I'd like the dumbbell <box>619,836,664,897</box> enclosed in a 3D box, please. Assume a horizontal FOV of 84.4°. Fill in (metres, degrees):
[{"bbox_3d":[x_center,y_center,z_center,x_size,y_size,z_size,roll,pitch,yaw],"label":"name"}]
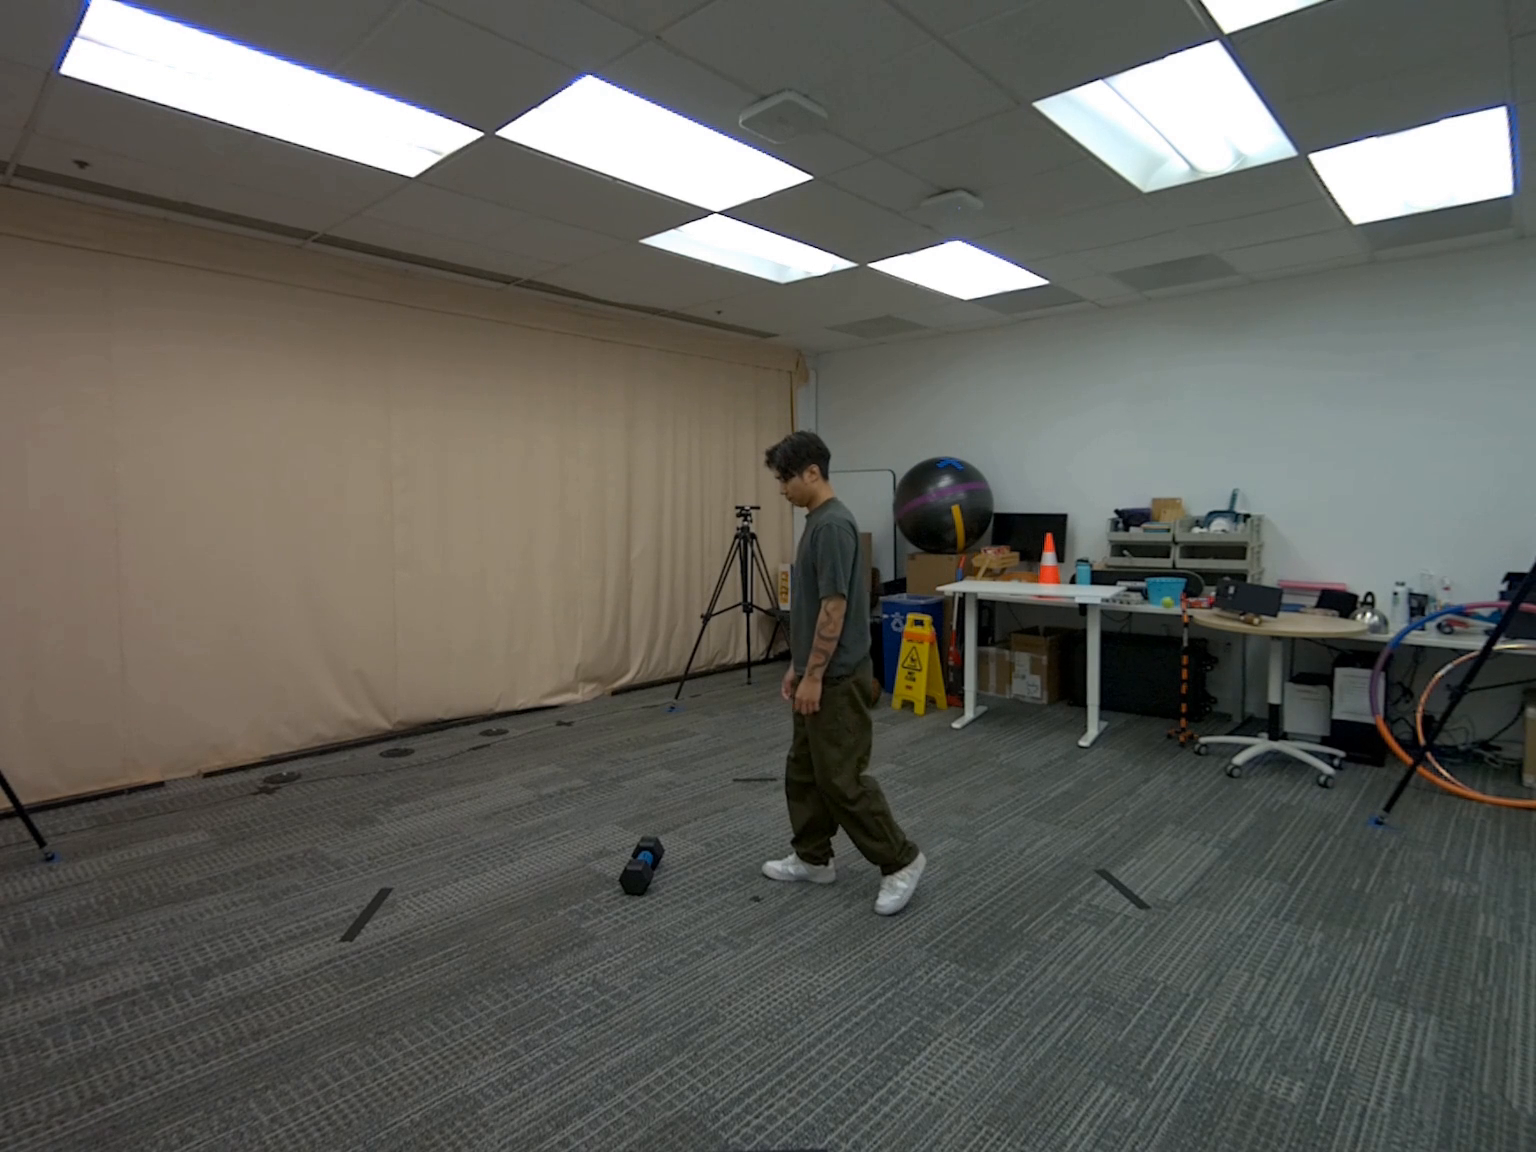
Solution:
[{"bbox_3d":[-0.472,1.085,3.147,0.109,0.123,0.292,-30,2,6],"label":"dumbbell"}]
